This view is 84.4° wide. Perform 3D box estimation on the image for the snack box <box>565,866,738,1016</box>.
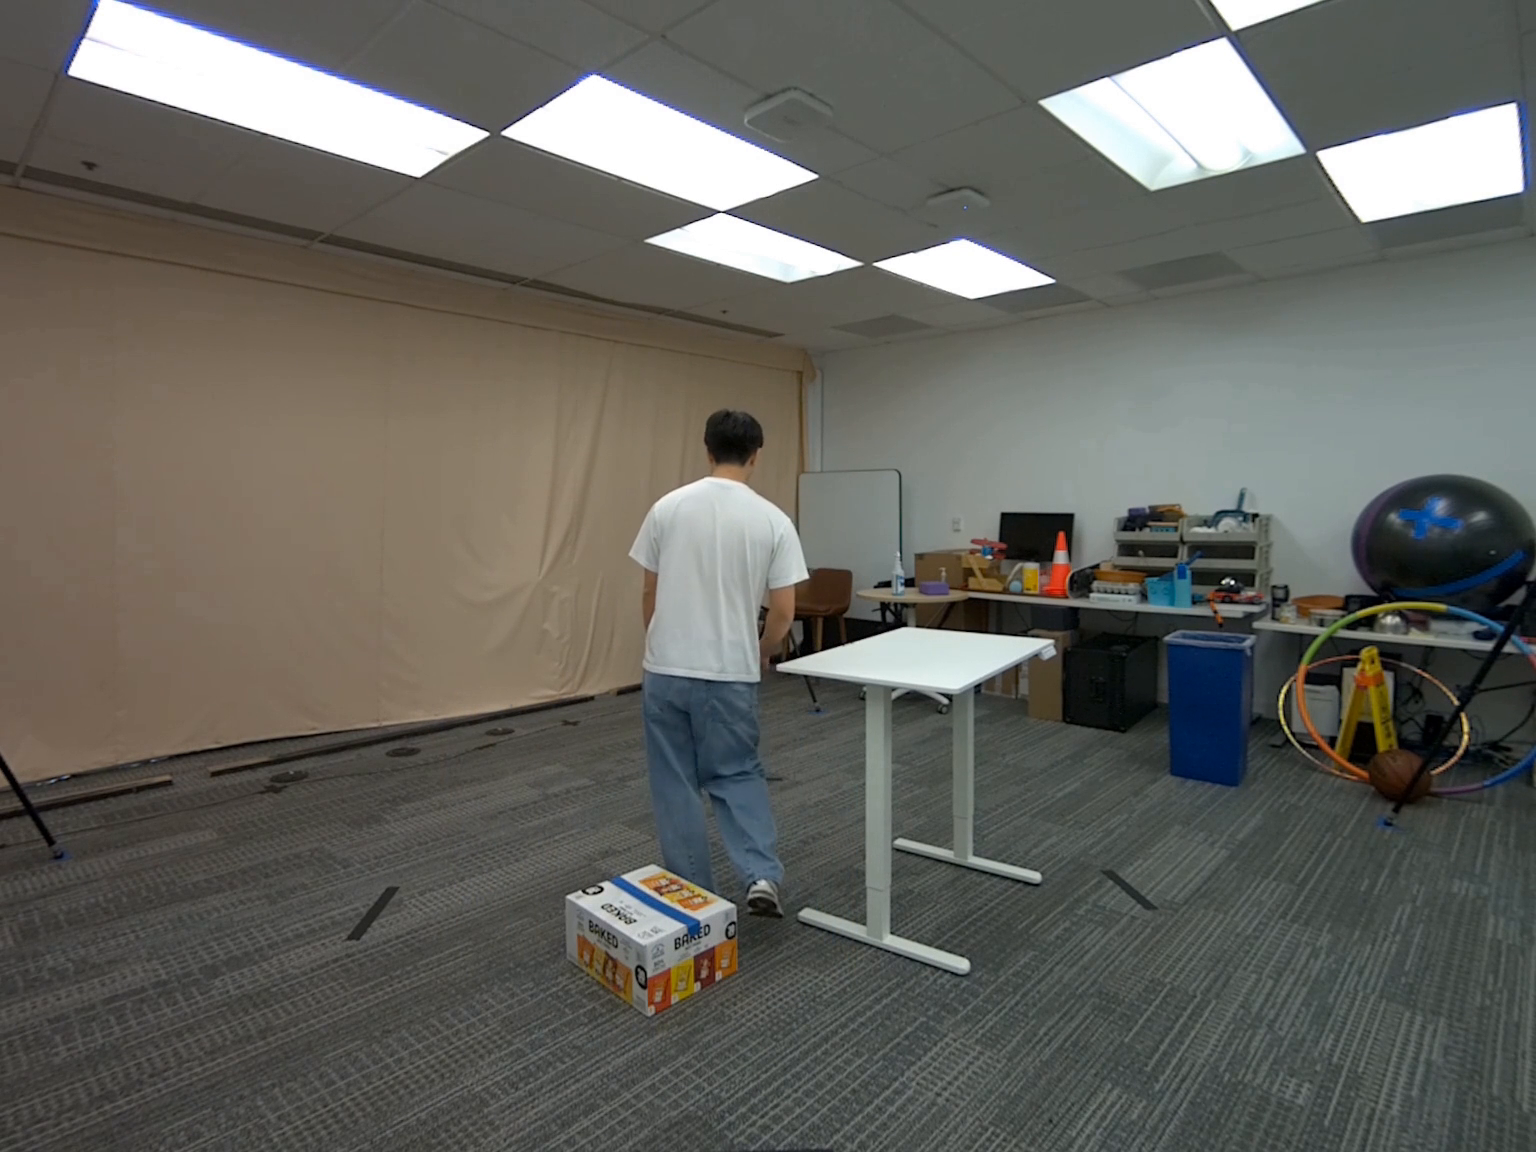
[{"bbox_3d":[-0.357,1.083,2.541,0.330,0.205,0.419,-4,6,-44],"label":"snack box"}]
